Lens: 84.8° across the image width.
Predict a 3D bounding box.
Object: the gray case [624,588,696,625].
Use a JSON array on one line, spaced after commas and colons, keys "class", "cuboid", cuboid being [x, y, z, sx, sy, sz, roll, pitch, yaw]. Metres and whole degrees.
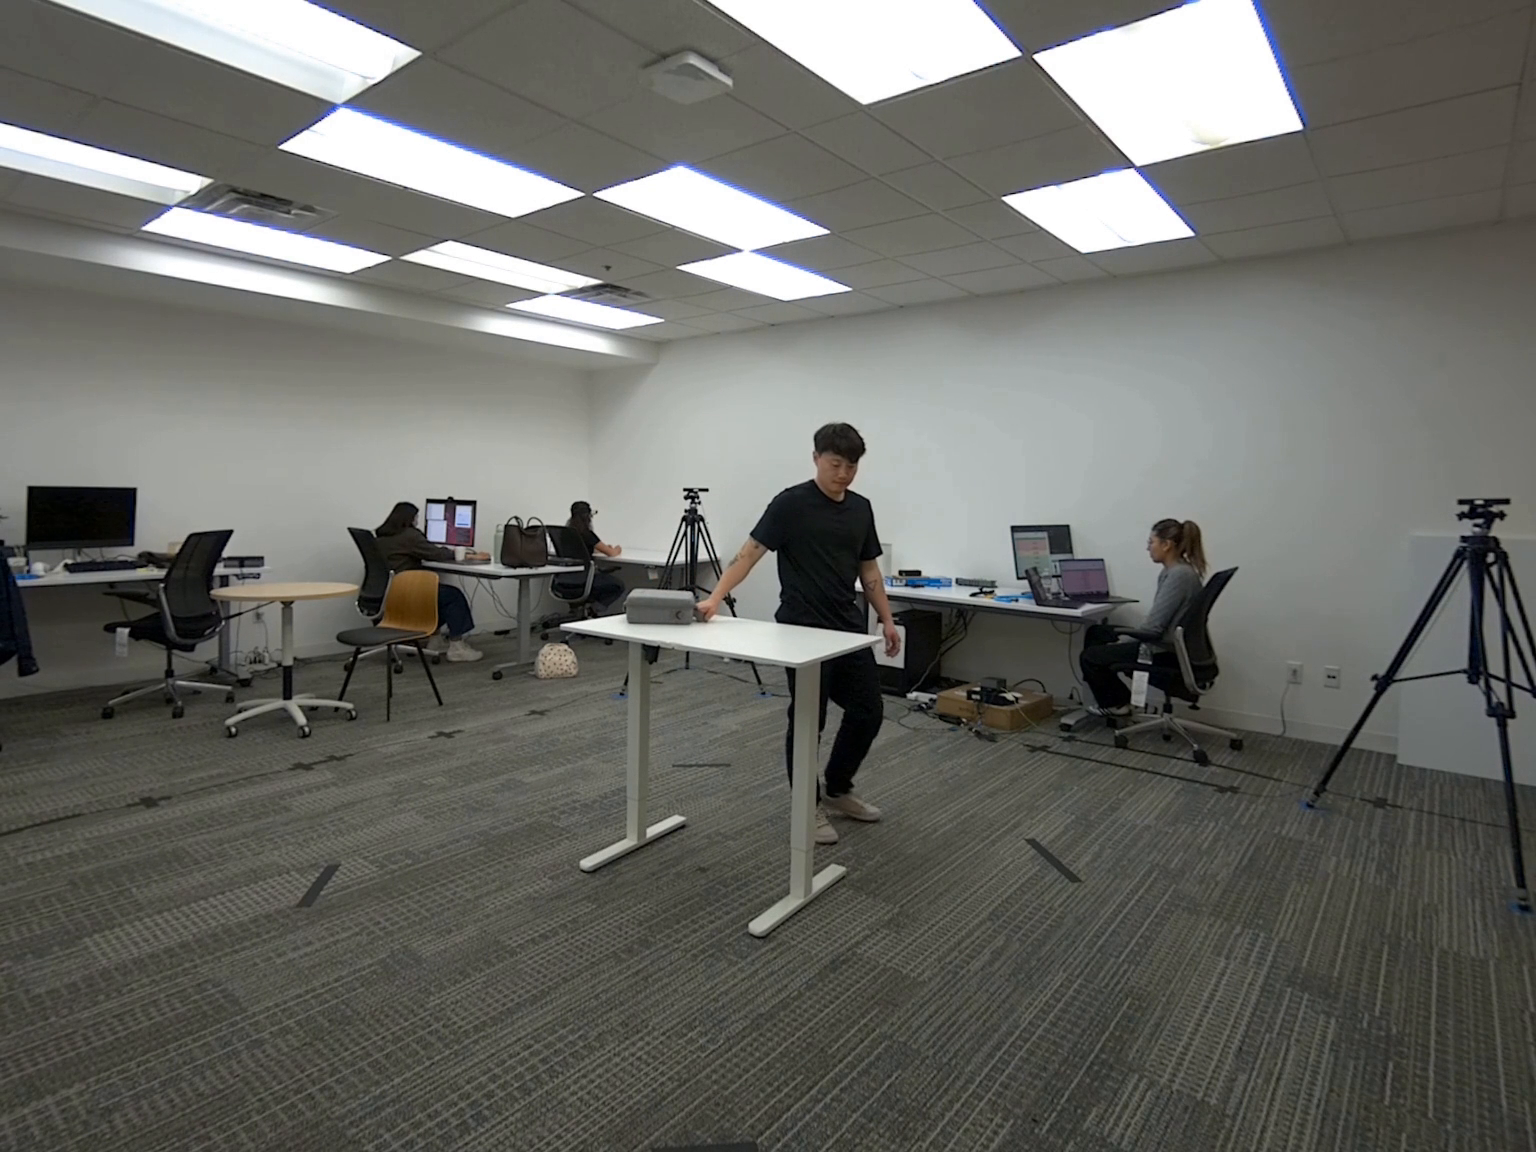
[{"class": "gray case", "cuboid": [-0.422, 0.115, 3.275, 0.260, 0.104, 0.258, 2, 4, -3]}]
